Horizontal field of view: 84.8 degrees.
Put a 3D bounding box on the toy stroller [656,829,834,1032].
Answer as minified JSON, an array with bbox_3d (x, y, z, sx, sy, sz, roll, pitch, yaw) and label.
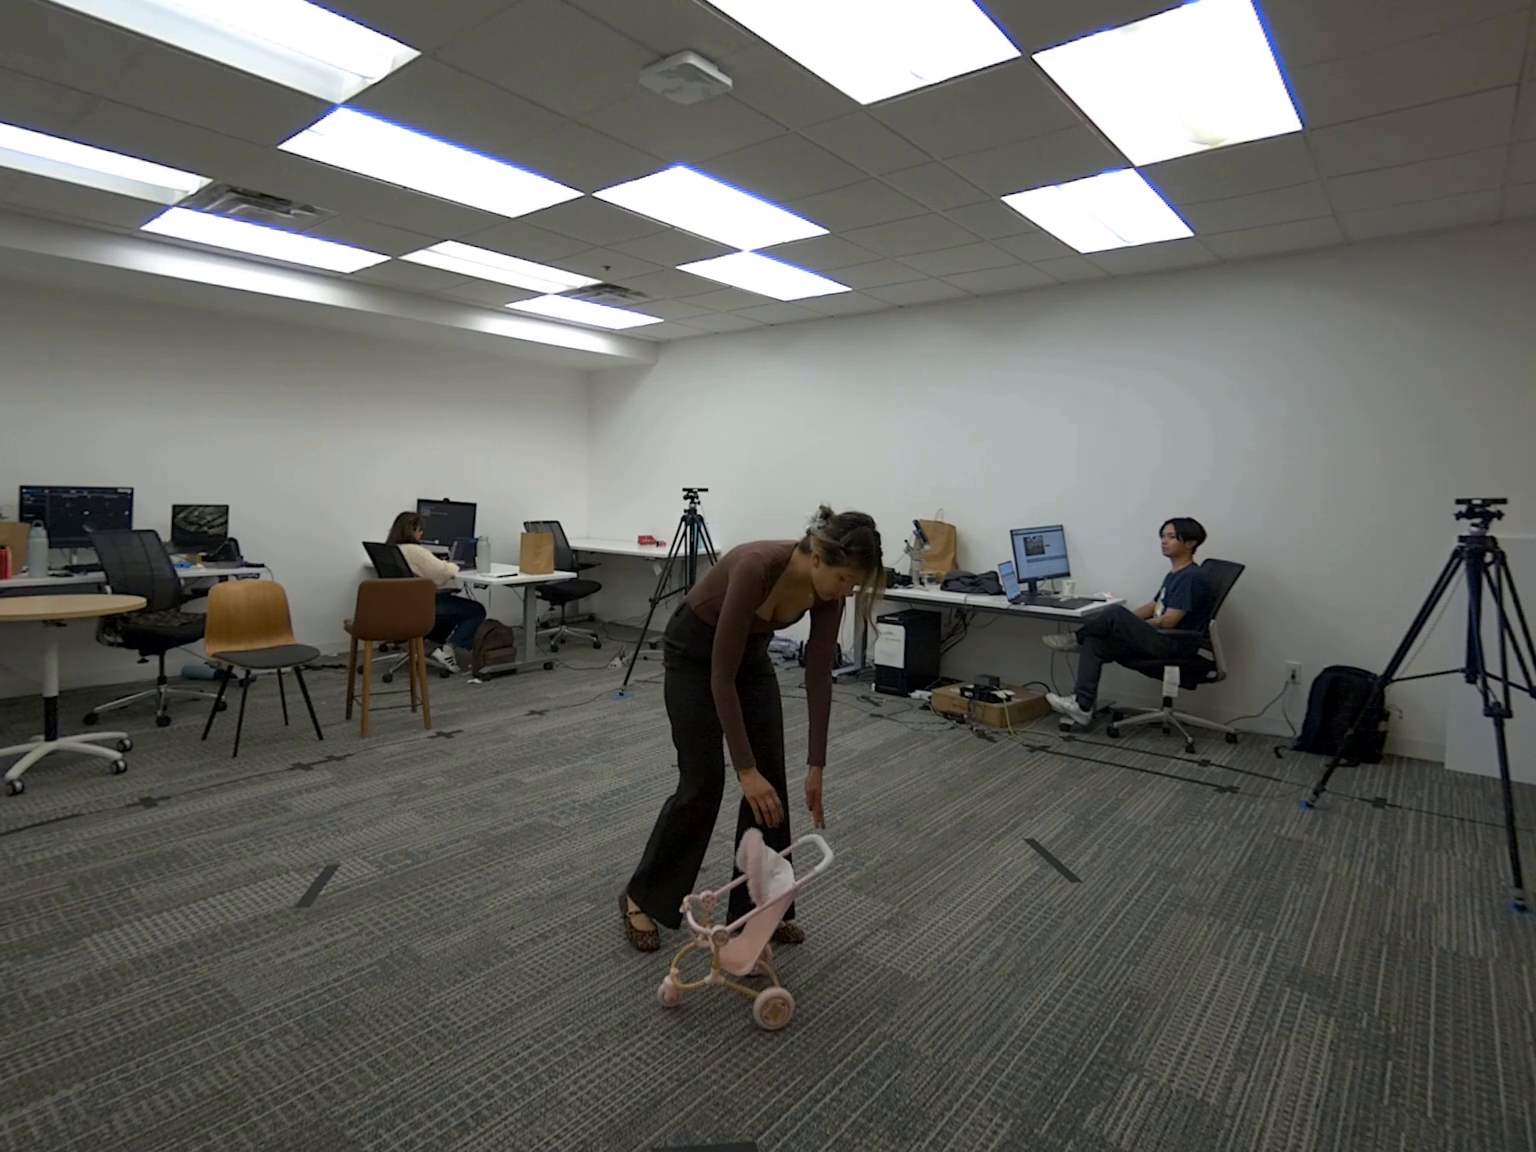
[{"bbox_3d":[-0.083,0.925,2.301,0.339,0.534,0.284,18,1,-7],"label":"toy stroller"}]
